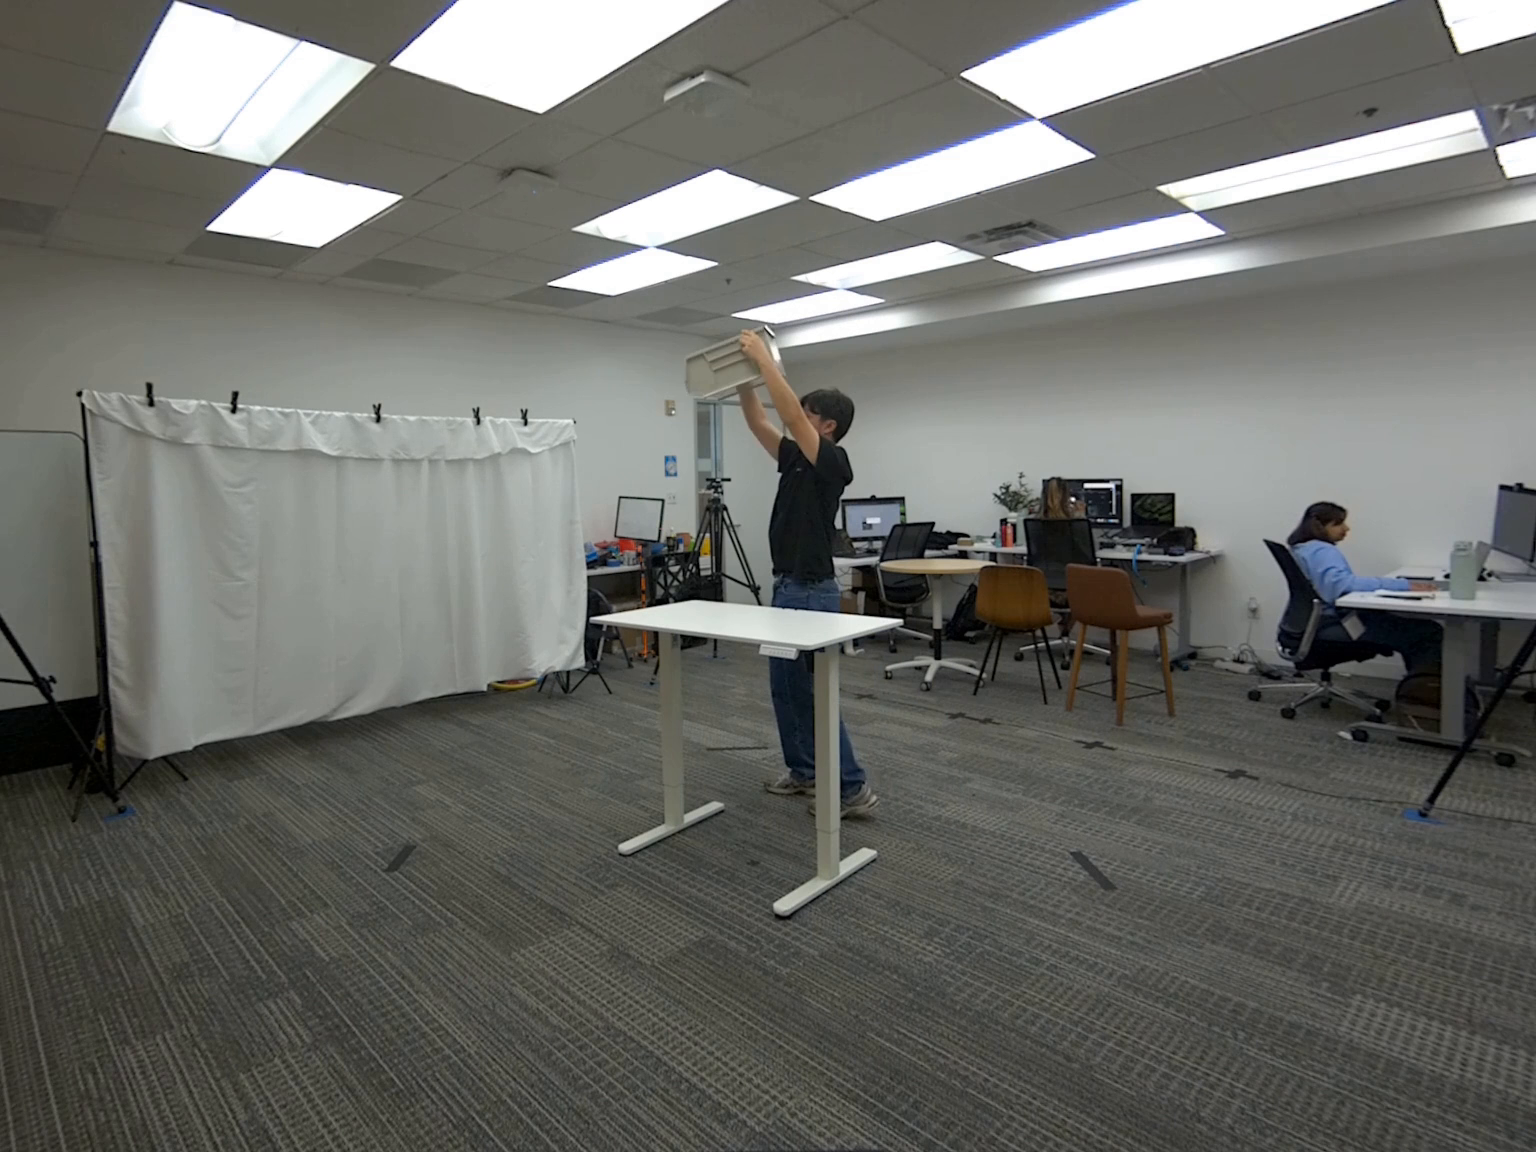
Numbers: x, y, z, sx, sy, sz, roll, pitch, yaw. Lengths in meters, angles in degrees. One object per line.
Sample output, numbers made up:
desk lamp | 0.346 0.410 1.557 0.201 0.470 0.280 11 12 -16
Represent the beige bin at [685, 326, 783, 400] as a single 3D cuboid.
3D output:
beige bin | -0.129 -0.858 3.558 0.380 0.188 0.422 -19 7 10
